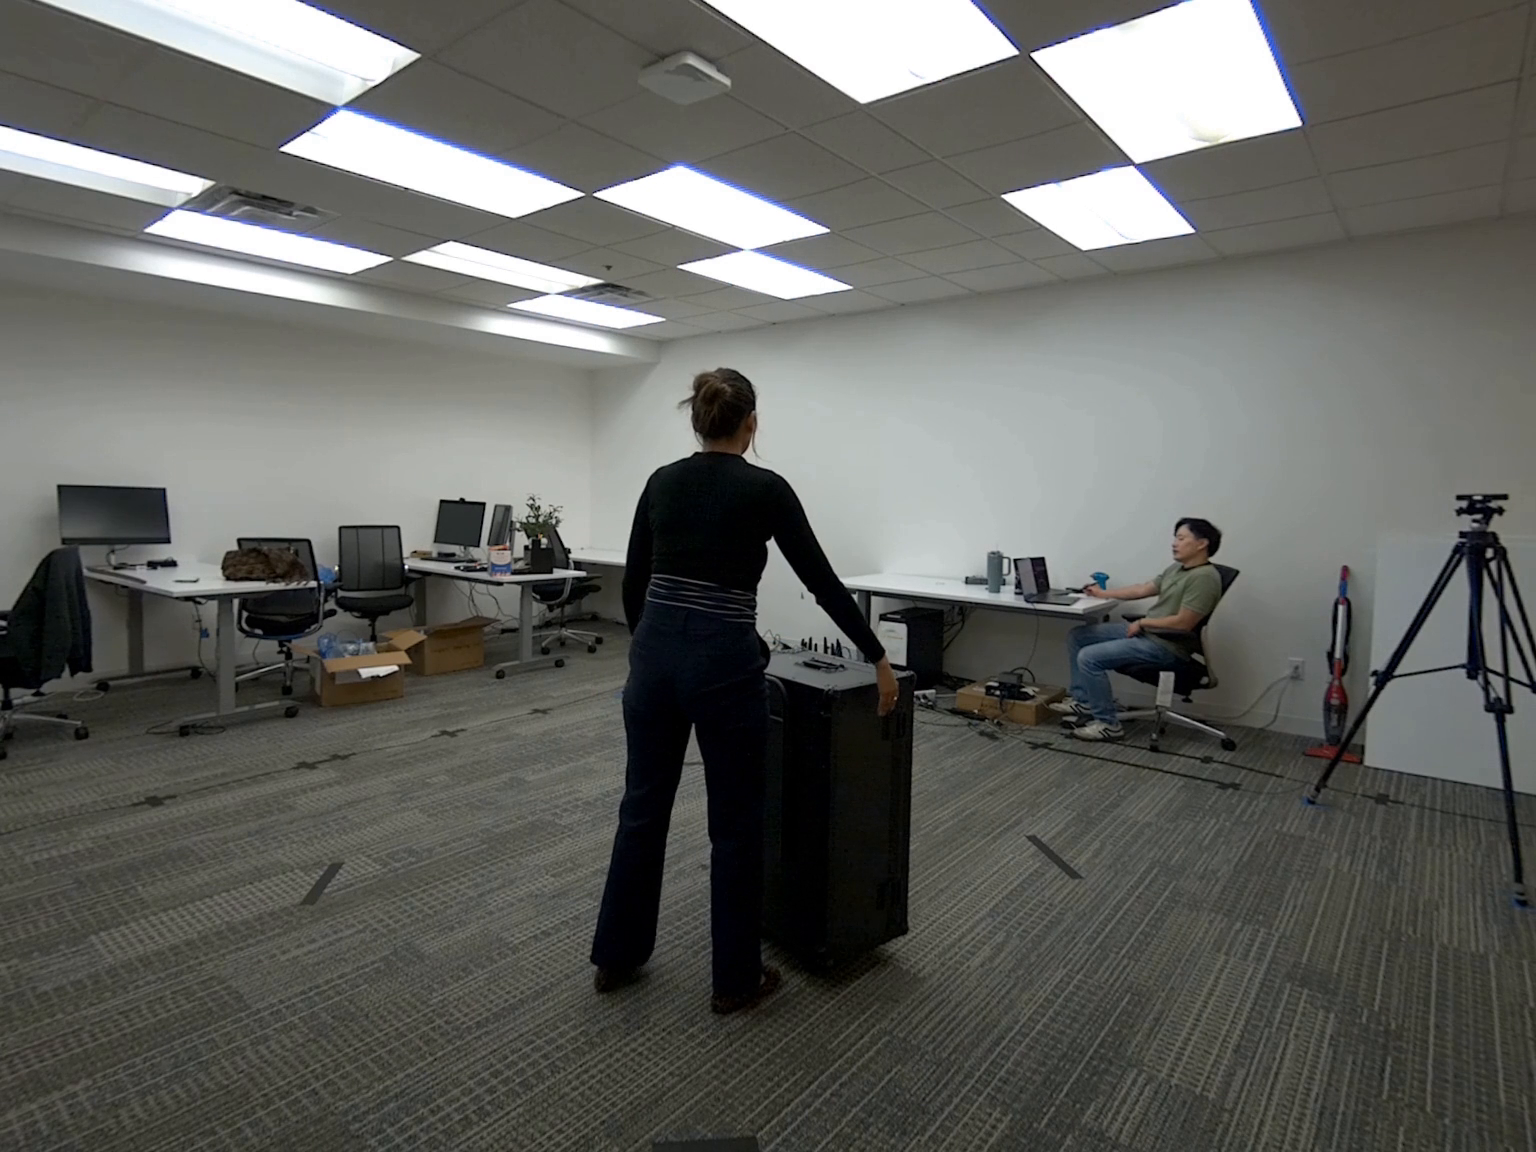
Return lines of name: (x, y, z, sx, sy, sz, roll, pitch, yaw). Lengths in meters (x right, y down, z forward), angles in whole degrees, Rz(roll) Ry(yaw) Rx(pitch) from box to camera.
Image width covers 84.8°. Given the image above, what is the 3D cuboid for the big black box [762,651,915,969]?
big black box: (0.125, 0.698, 2.585, 0.385, 0.858, 0.539, -4, 6, -40)
